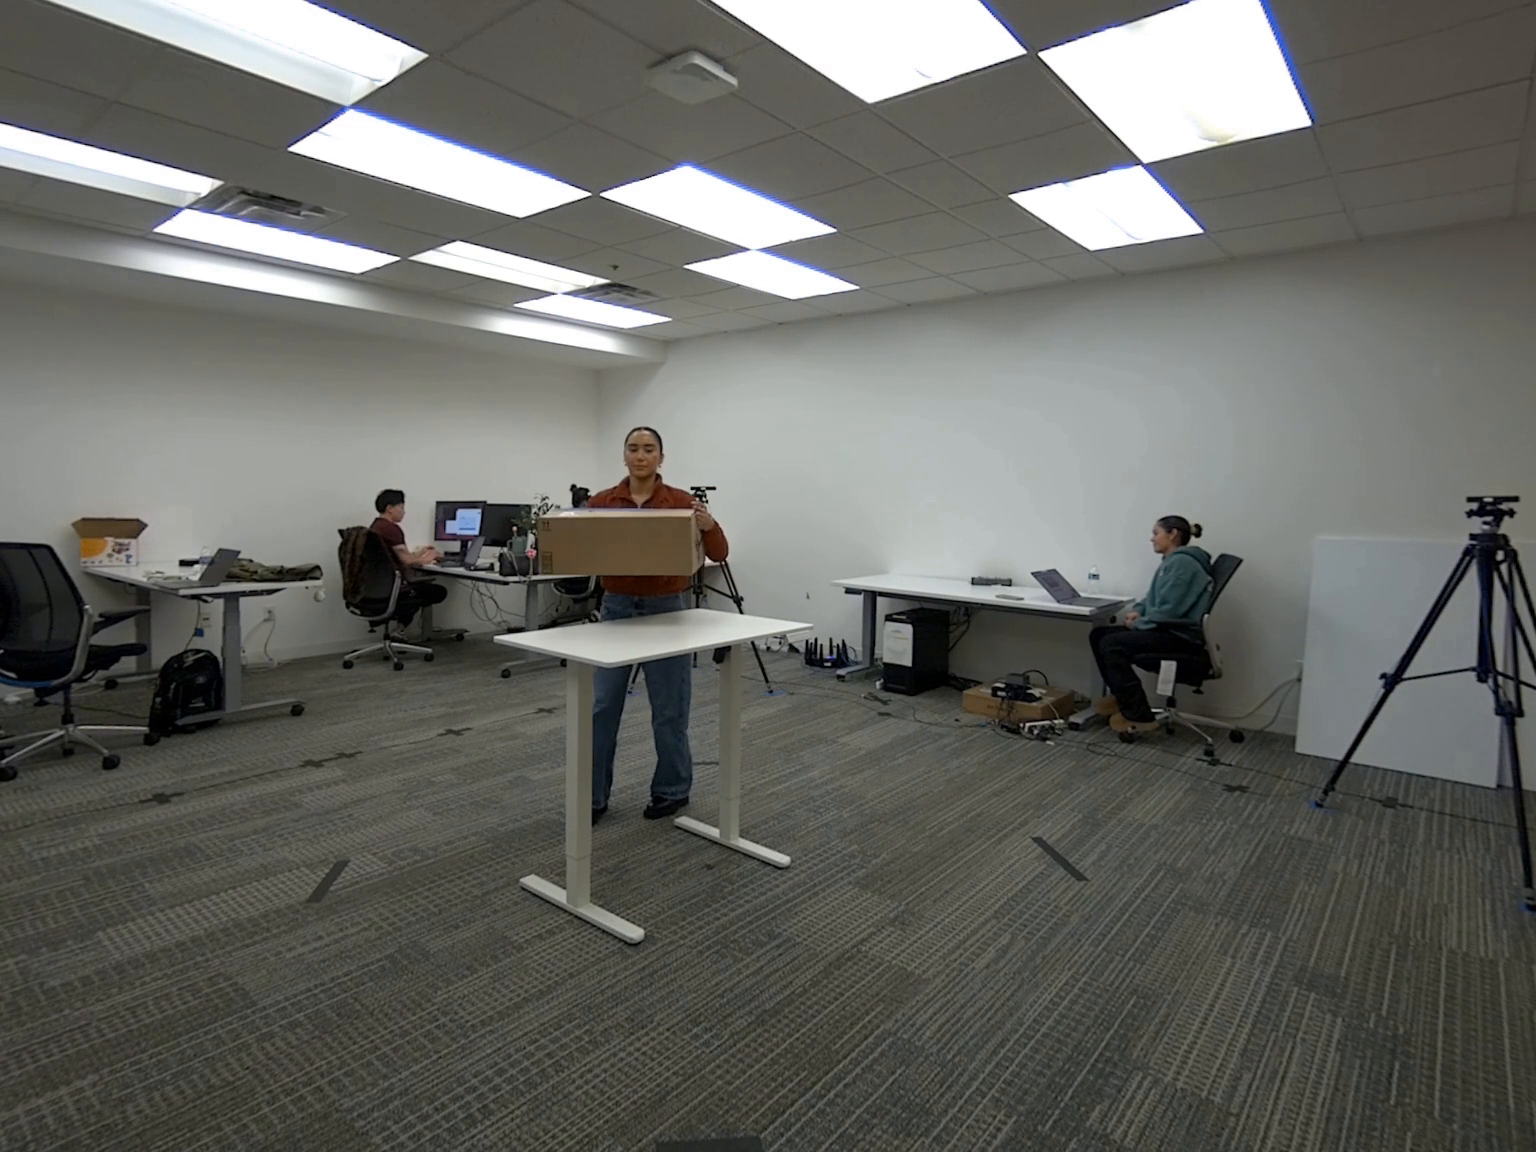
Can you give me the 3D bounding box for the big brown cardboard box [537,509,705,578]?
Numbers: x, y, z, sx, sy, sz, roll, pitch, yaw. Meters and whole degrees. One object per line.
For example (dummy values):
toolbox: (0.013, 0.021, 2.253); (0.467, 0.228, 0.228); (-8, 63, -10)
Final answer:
big brown cardboard box: (-0.564, -0.143, 3.274); (0.592, 0.232, 0.418); (1, 7, 4)
